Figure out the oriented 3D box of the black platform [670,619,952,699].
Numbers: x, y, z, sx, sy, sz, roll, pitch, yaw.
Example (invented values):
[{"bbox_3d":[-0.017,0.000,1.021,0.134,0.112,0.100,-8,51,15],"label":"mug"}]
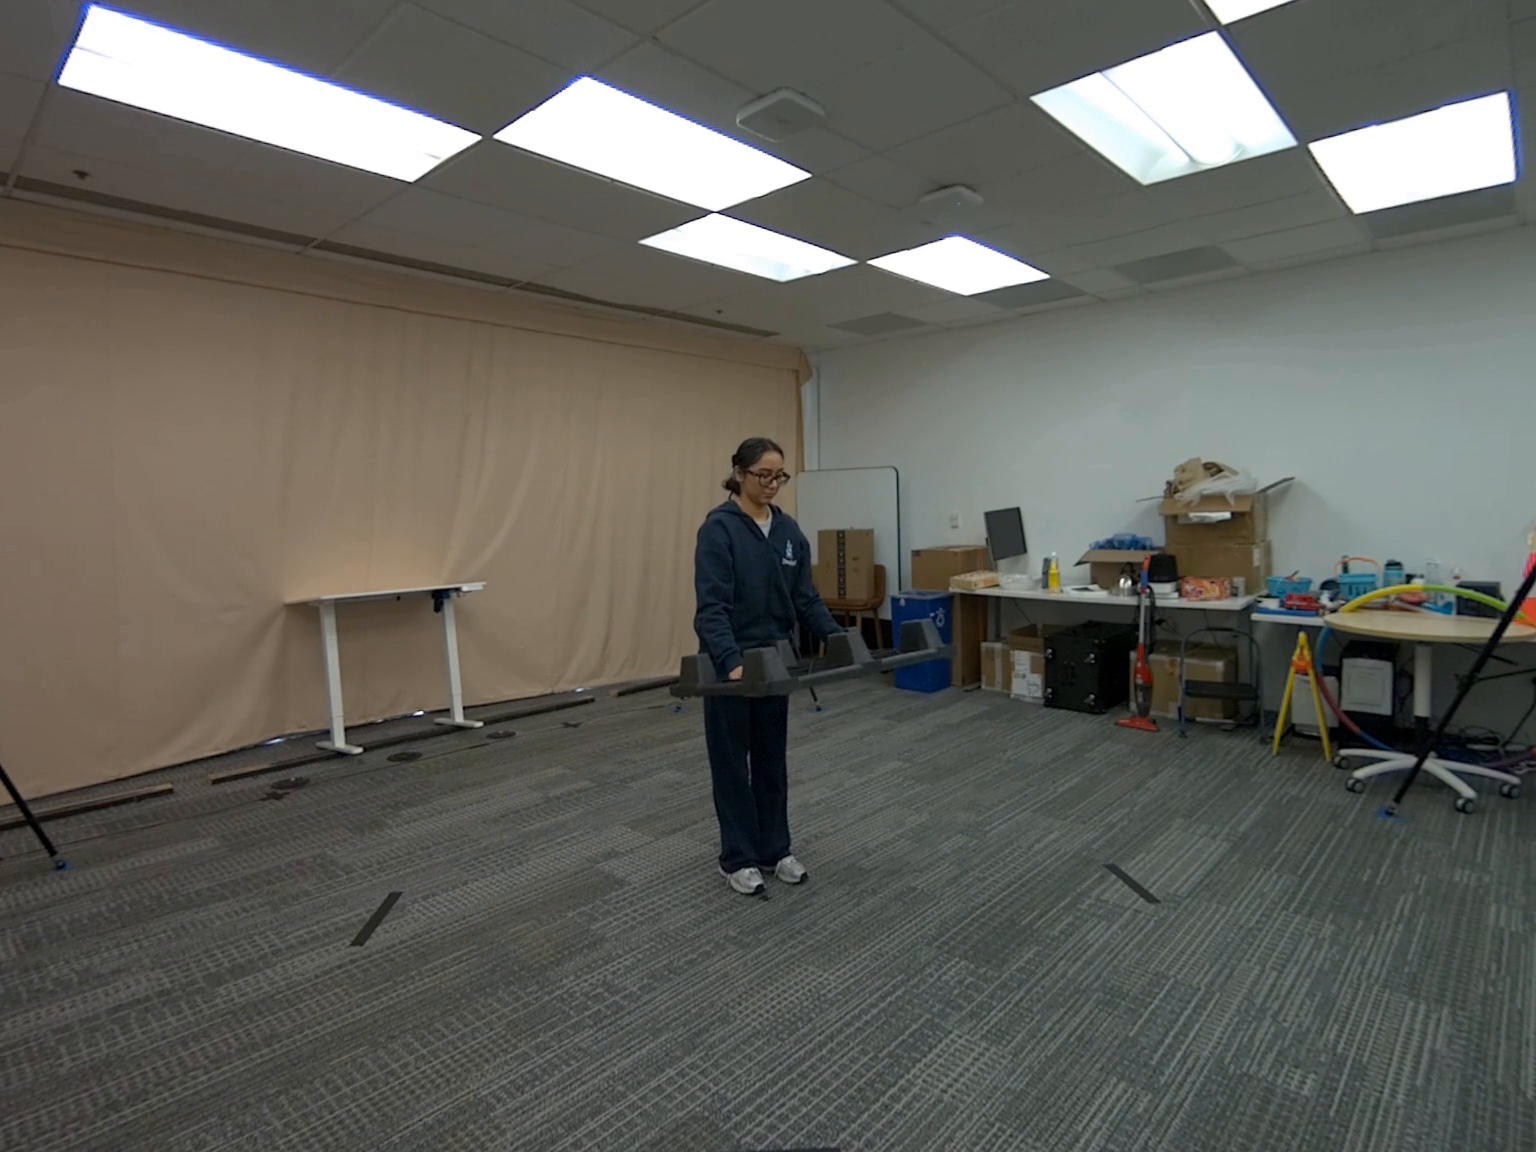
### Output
[{"bbox_3d":[0.144,0.280,2.863,0.783,0.144,0.621,-7,-2,-36],"label":"black platform"}]
